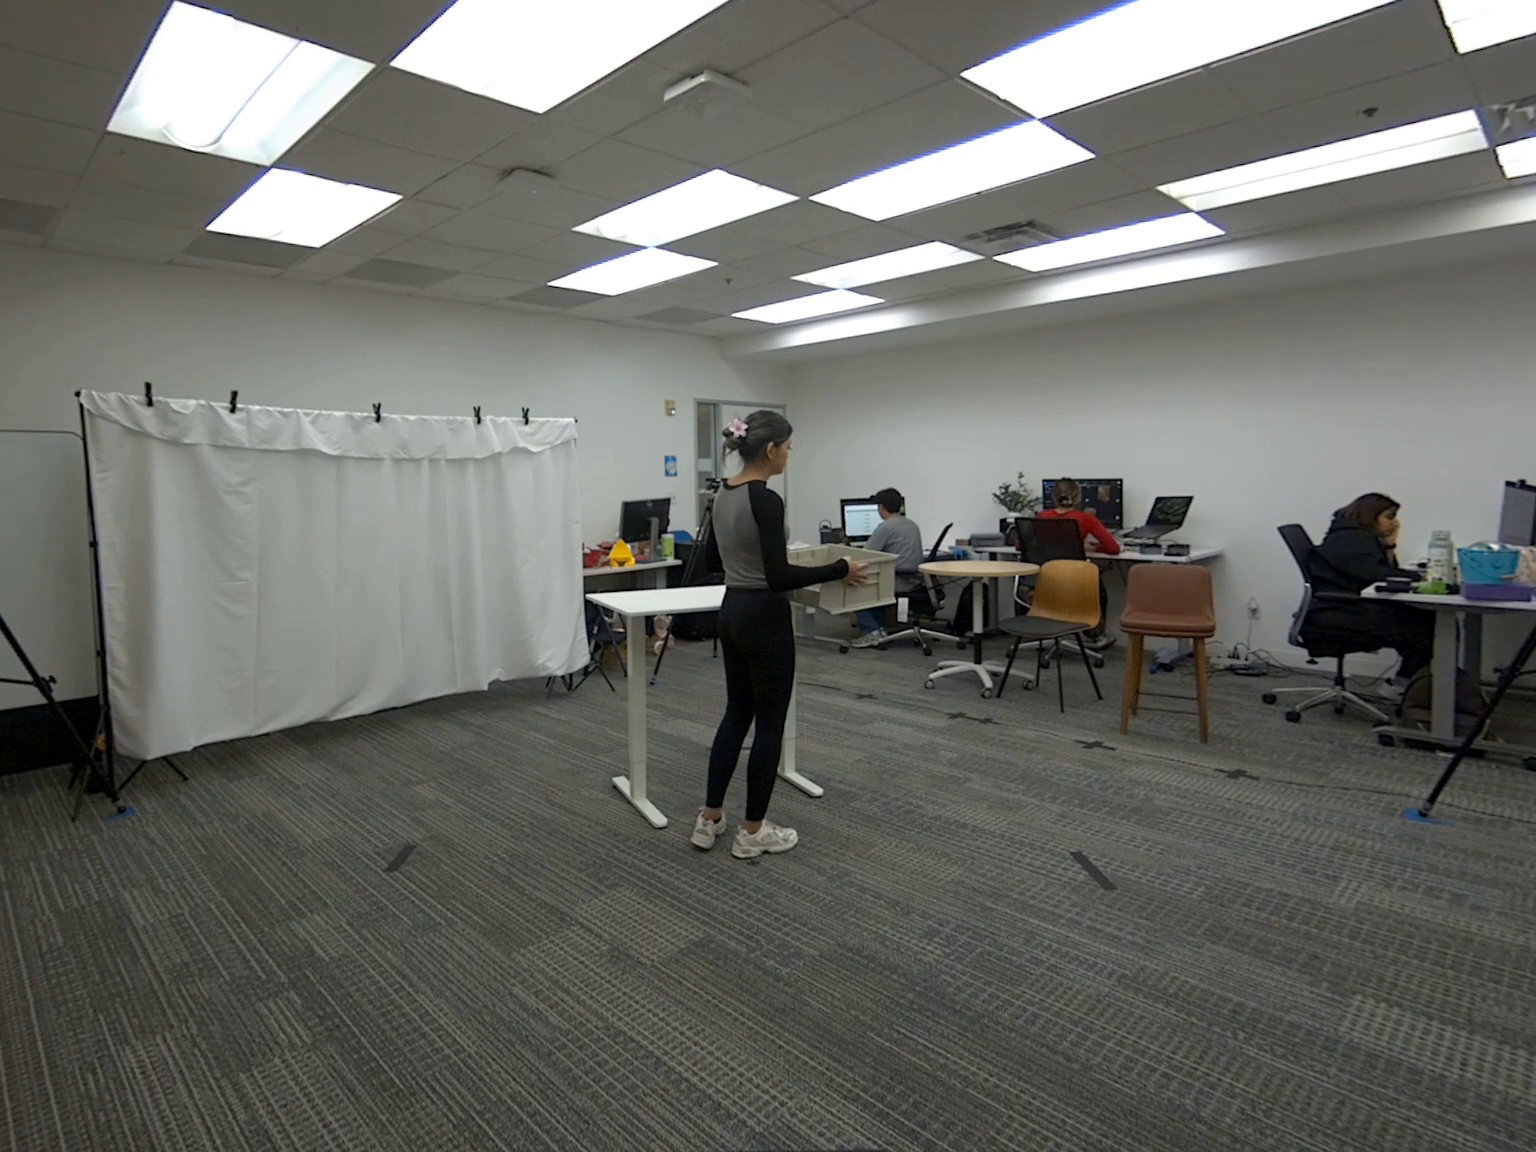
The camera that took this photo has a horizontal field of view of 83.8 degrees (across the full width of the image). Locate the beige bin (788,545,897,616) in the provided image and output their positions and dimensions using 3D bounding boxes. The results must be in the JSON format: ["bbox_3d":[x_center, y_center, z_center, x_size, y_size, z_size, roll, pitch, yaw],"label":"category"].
[{"bbox_3d":[0.218,0.006,3.283,0.368,0.188,0.435,-6,10,-32],"label":"beige bin"}]
